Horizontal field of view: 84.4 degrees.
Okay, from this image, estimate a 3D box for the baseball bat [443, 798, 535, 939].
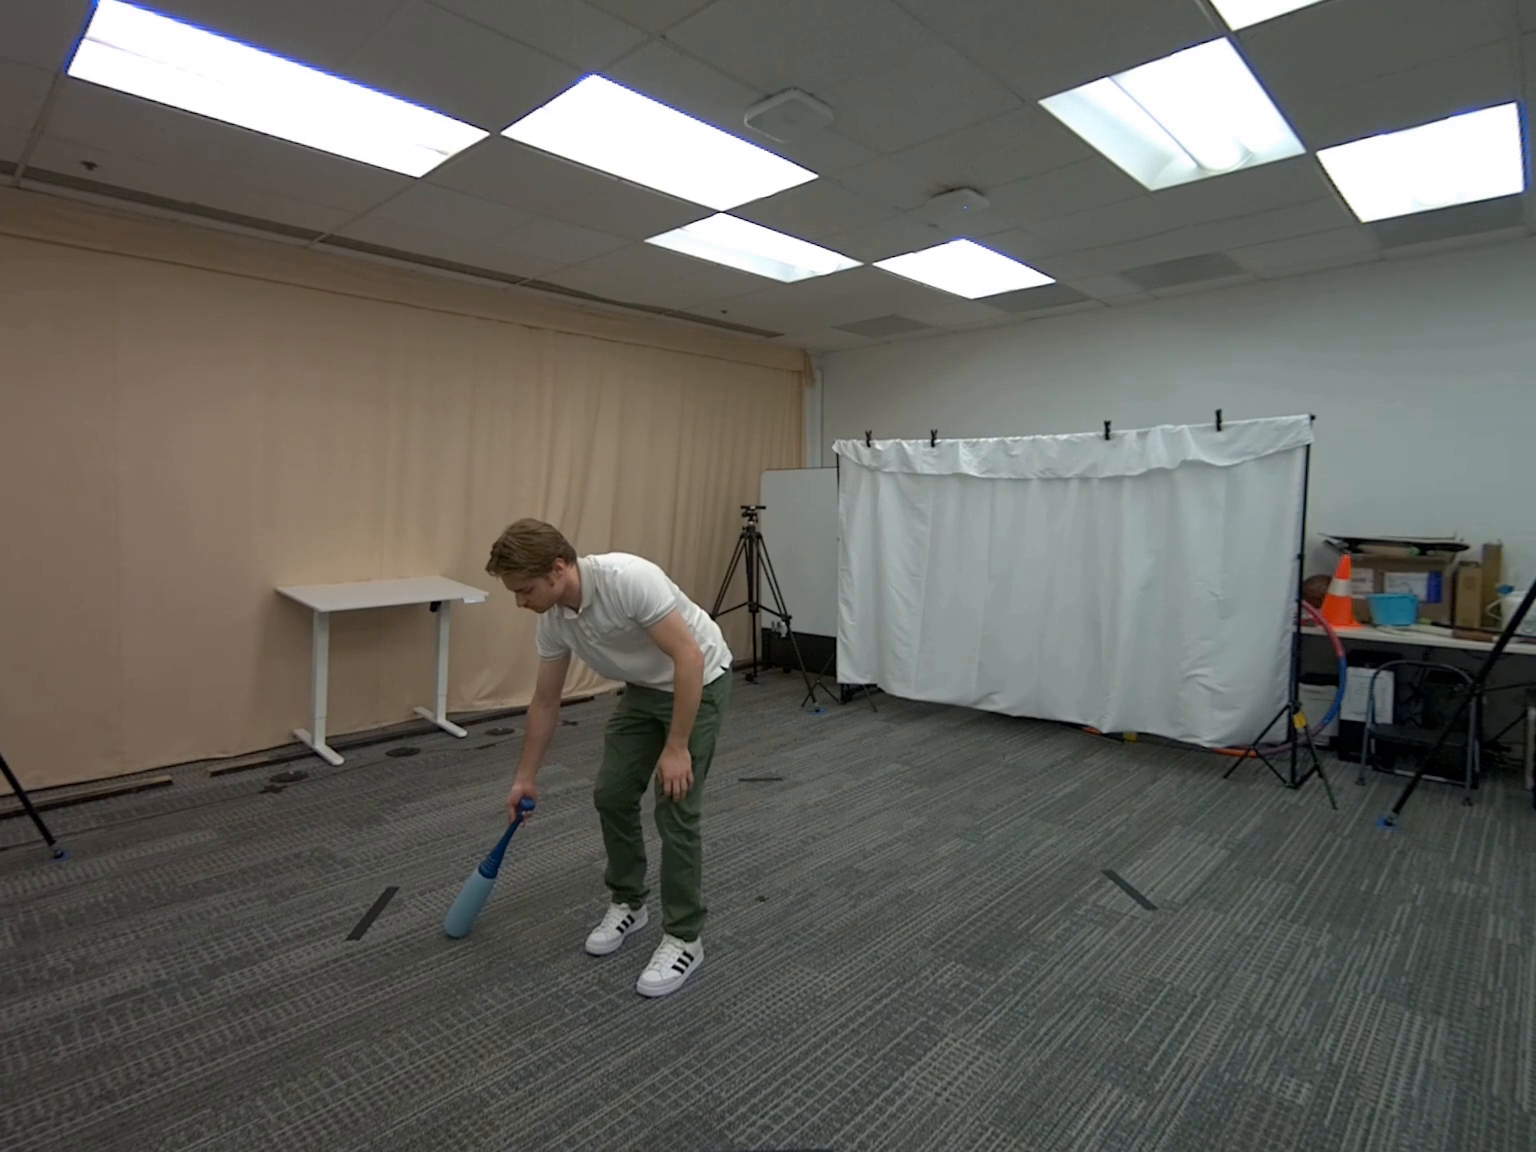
[{"bbox_3d":[-0.889,0.941,2.692,0.088,0.543,0.090,31,11,-9],"label":"baseball bat"}]
